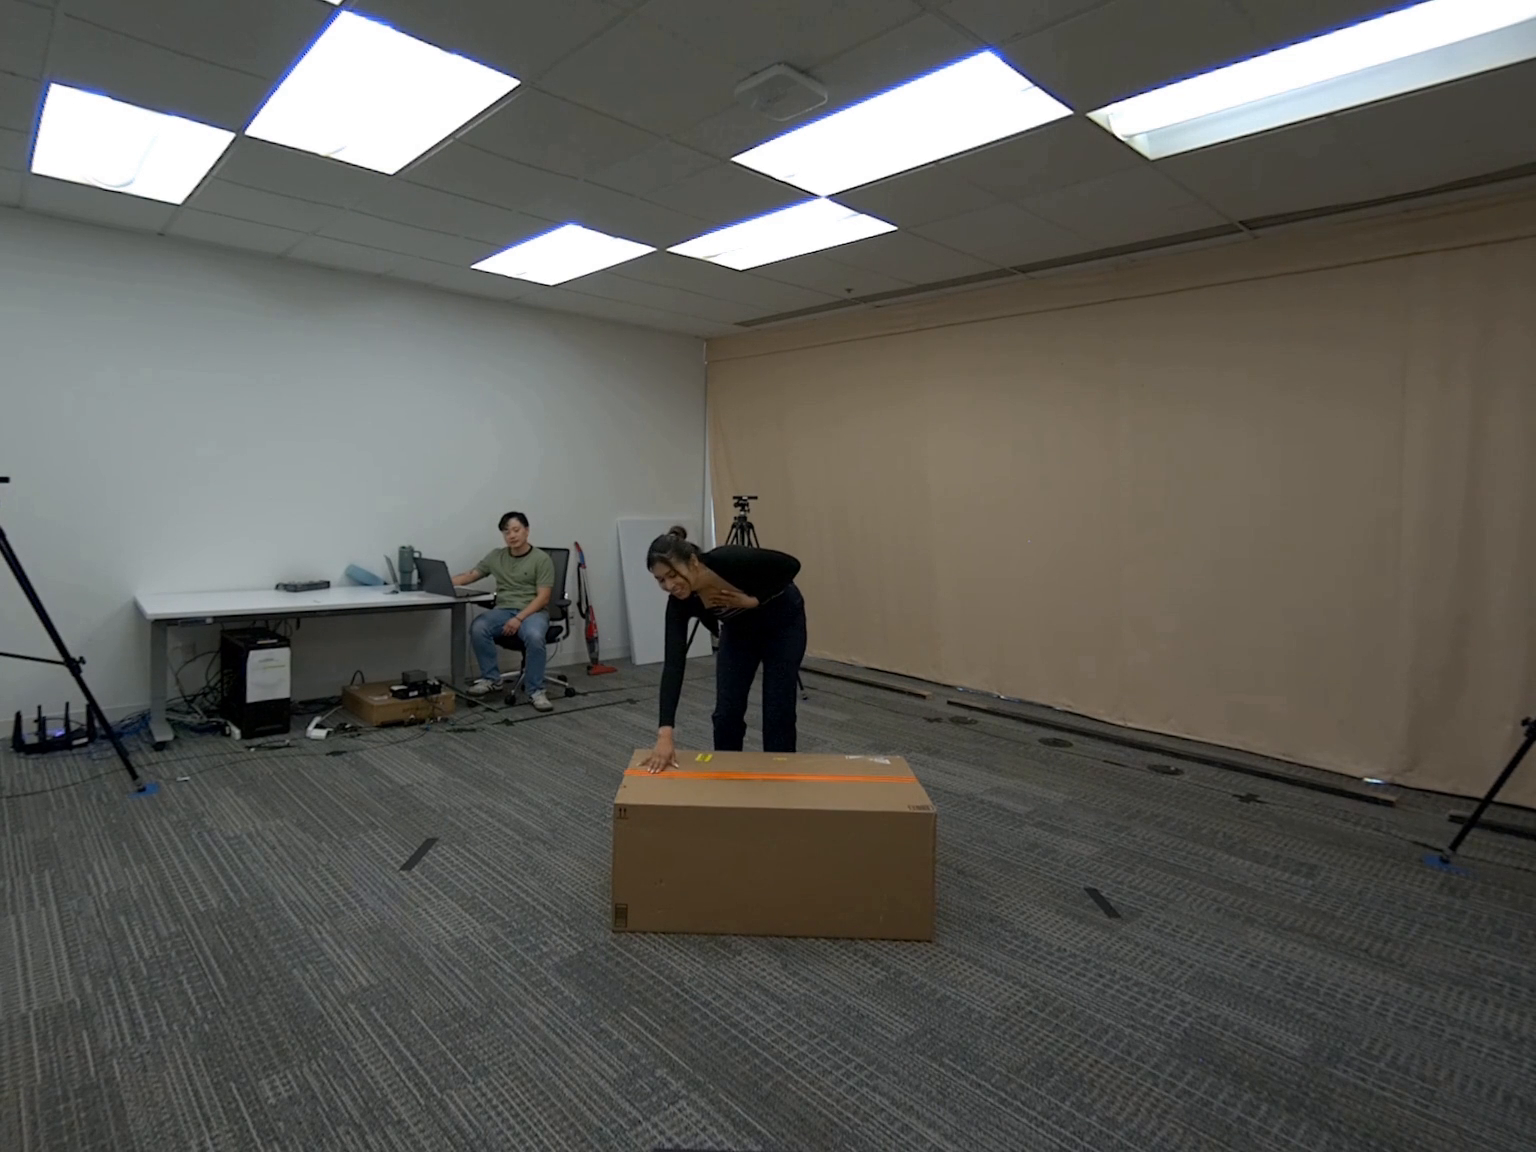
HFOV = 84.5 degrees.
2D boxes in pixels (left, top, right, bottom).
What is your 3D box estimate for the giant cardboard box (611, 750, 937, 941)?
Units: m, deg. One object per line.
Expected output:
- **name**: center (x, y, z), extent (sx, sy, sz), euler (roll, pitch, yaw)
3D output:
- **giant cardboard box**: center (0.005, 0.906, 2.936), extent (1.026, 0.425, 0.579), euler (1, 4, 0)
